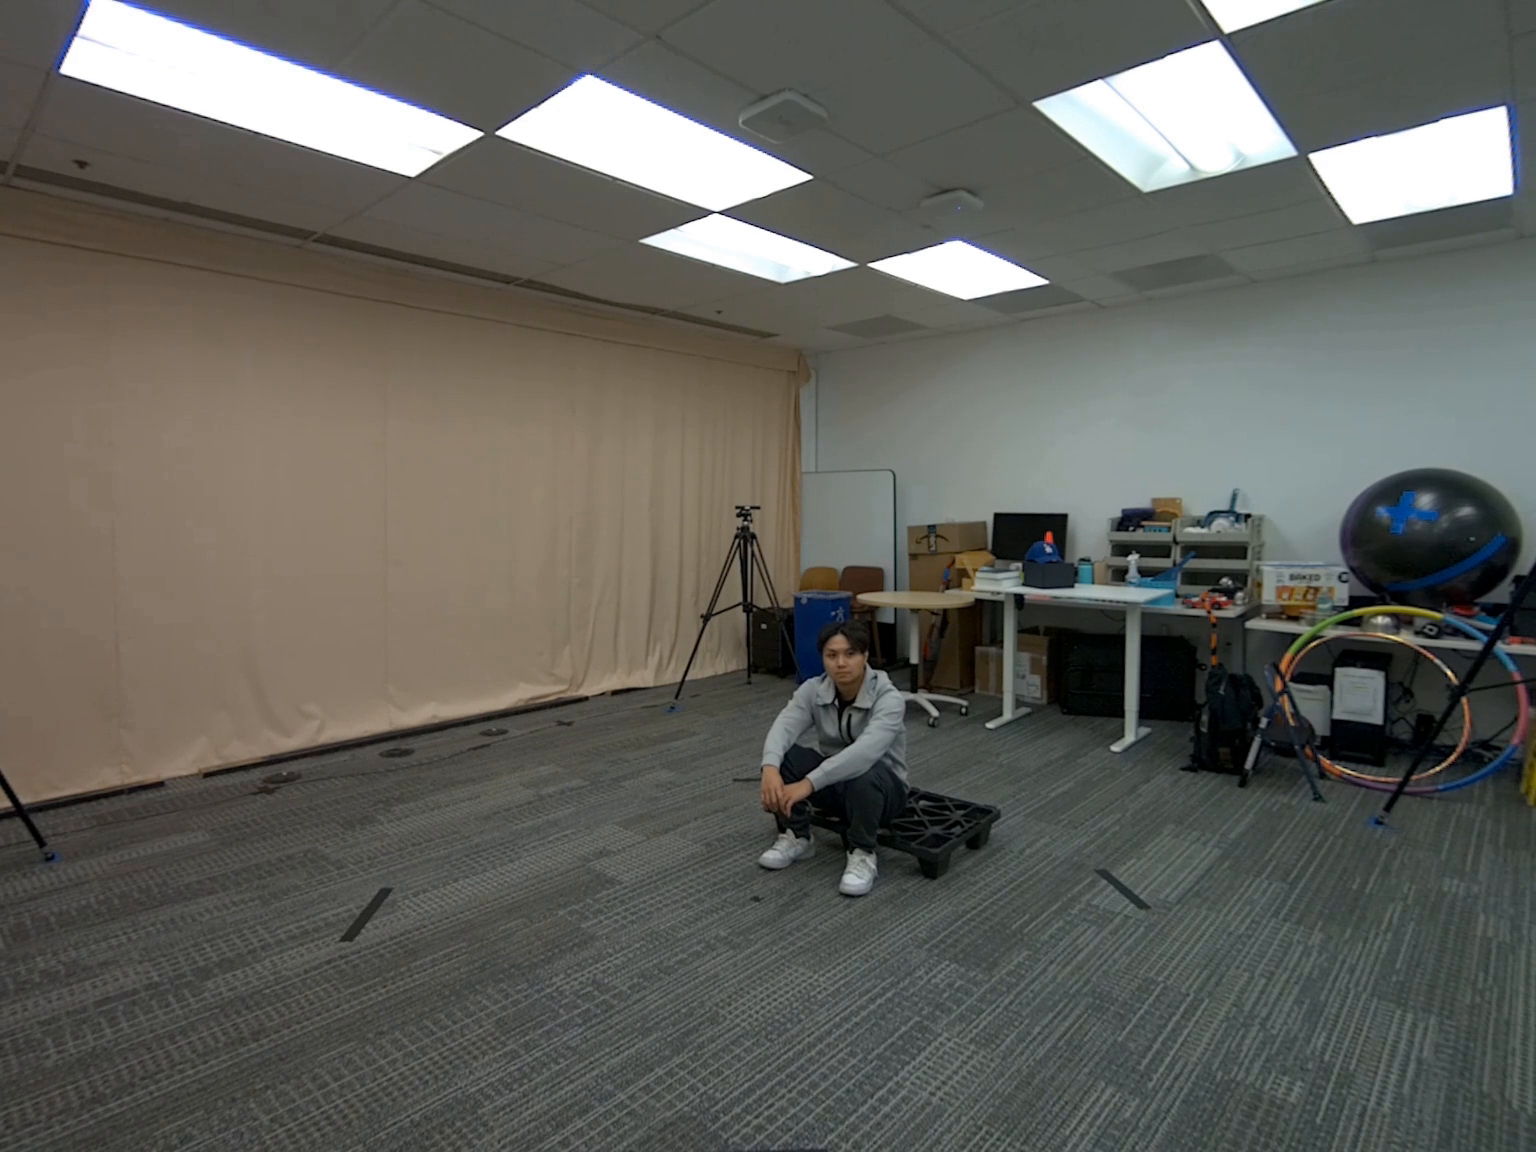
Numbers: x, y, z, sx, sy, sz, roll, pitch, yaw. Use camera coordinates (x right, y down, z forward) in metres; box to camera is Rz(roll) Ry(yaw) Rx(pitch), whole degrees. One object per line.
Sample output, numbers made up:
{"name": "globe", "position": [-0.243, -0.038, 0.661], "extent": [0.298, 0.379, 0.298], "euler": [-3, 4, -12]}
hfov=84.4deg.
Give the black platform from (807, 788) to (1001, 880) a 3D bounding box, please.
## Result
{"name": "black platform", "position": [0.476, 1.031, 3.532], "extent": [0.832, 0.143, 0.587], "euler": [4, 6, 39]}
